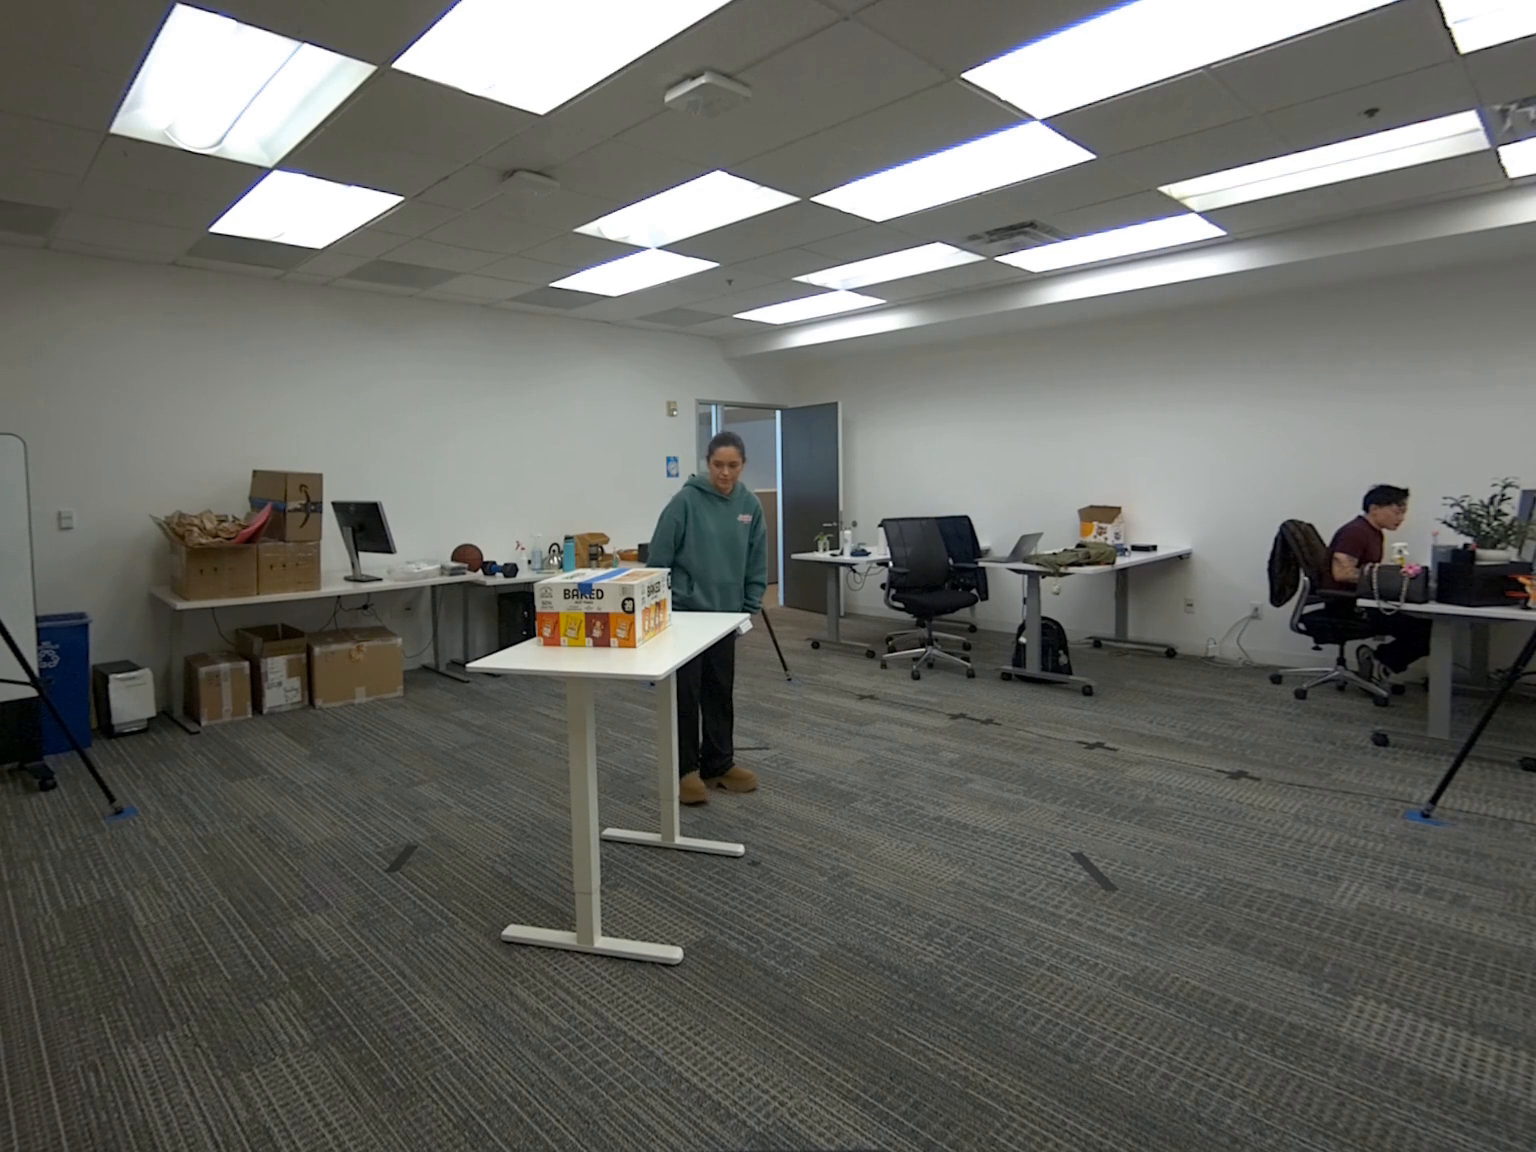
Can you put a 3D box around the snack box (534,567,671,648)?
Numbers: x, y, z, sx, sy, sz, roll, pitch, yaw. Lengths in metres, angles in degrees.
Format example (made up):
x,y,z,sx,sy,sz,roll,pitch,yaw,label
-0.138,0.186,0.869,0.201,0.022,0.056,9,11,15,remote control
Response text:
x,y,z,sx,sy,sz,roll,pitch,yaw,label
-0.545,0.099,2.877,0.345,0.204,0.402,0,7,12,snack box
